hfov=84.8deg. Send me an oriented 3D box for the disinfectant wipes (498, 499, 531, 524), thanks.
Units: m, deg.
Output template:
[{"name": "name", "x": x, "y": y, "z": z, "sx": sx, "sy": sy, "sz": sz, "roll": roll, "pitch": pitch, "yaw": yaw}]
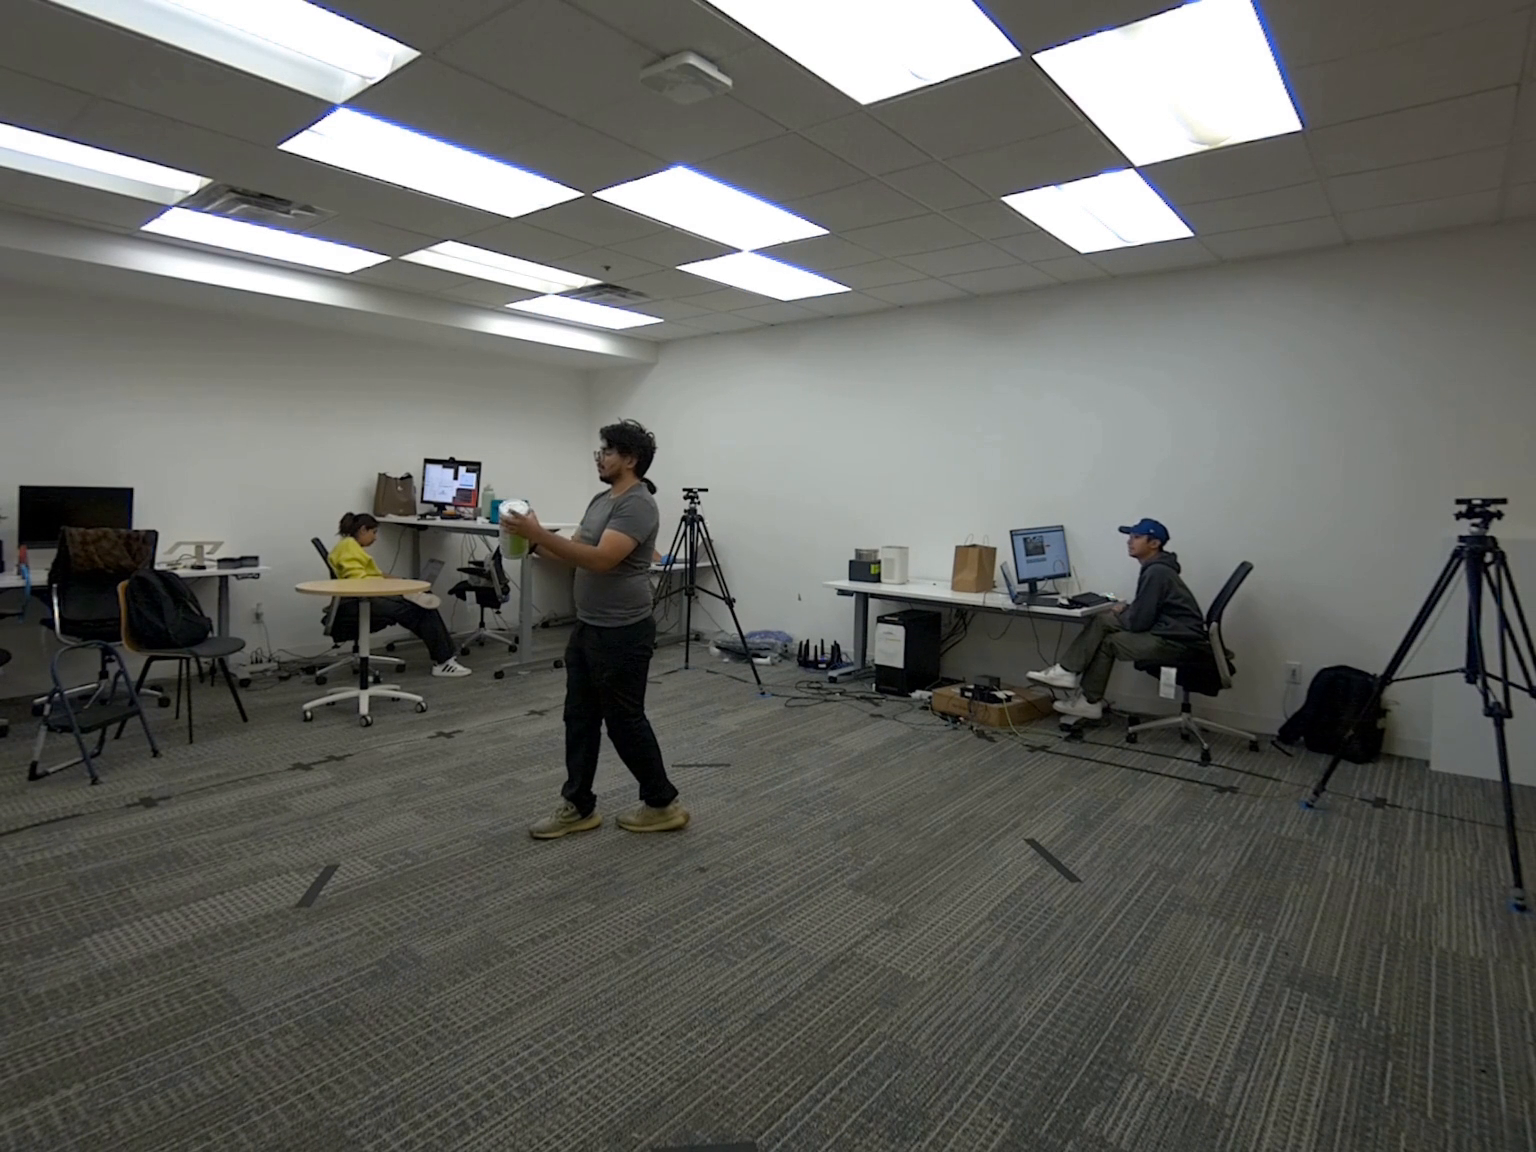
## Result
[{"name": "disinfectant wipes", "x": -0.972, "y": -0.184, "z": 3.225, "sx": 0.117, "sy": 0.213, "sz": 0.121, "roll": 8, "pitch": 37, "yaw": -8}]
